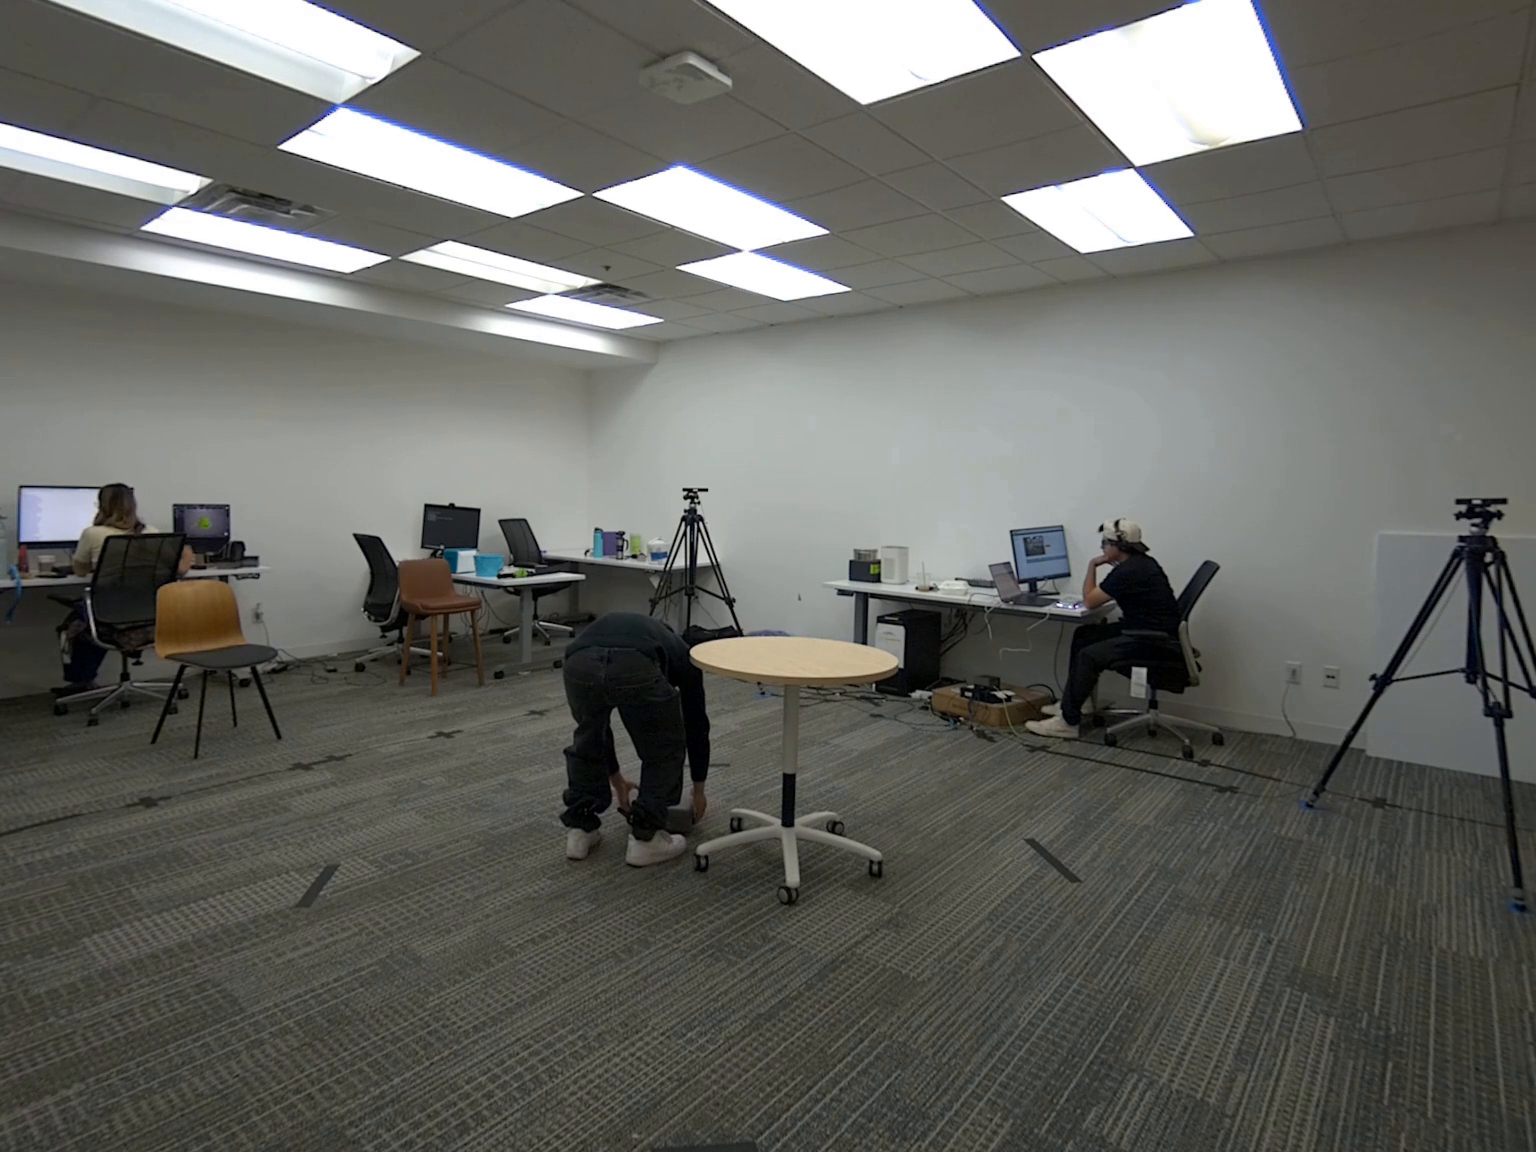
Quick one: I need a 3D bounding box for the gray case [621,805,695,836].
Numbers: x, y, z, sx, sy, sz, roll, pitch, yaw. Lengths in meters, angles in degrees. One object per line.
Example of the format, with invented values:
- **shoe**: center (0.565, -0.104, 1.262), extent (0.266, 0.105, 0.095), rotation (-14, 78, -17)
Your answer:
- **gray case**: center (-0.428, 0.961, 3.546), extent (0.259, 0.104, 0.260), rotation (1, 5, 6)
